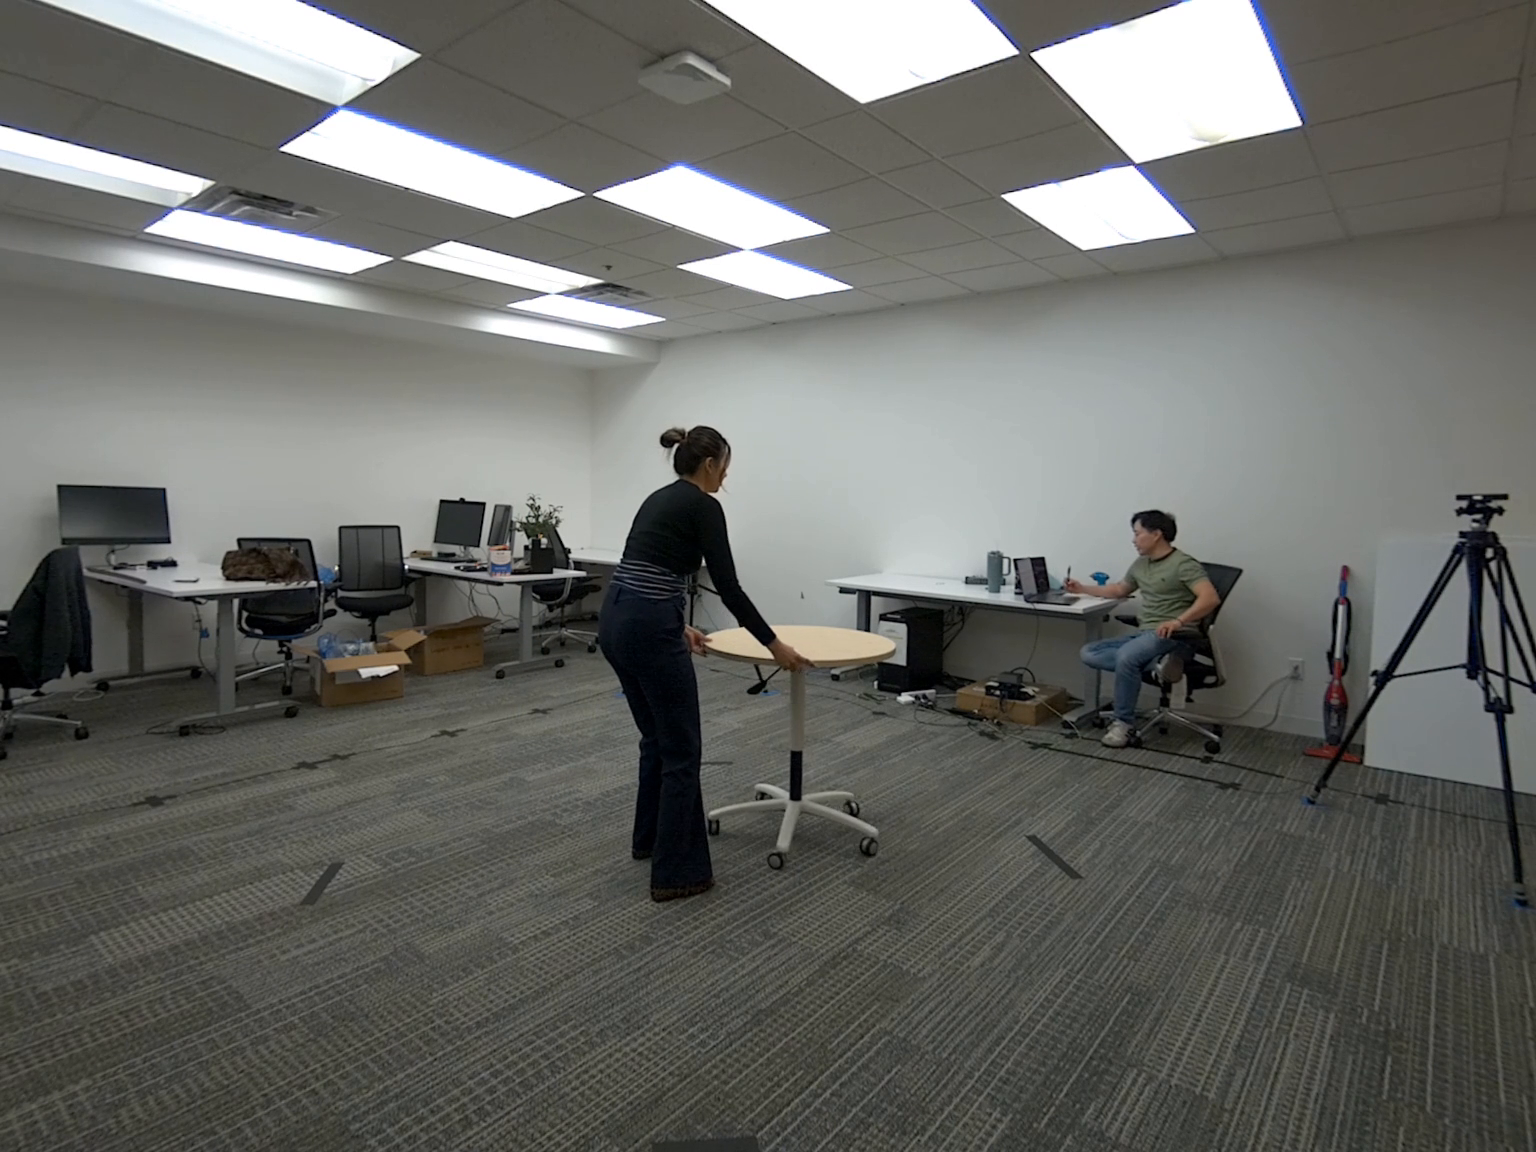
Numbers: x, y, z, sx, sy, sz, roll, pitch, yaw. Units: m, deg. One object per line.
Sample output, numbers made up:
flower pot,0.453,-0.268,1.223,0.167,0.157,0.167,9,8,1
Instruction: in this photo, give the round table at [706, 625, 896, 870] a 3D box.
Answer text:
round table,0.101,0.649,3.421,0.763,0.791,0.768,1,4,-2
